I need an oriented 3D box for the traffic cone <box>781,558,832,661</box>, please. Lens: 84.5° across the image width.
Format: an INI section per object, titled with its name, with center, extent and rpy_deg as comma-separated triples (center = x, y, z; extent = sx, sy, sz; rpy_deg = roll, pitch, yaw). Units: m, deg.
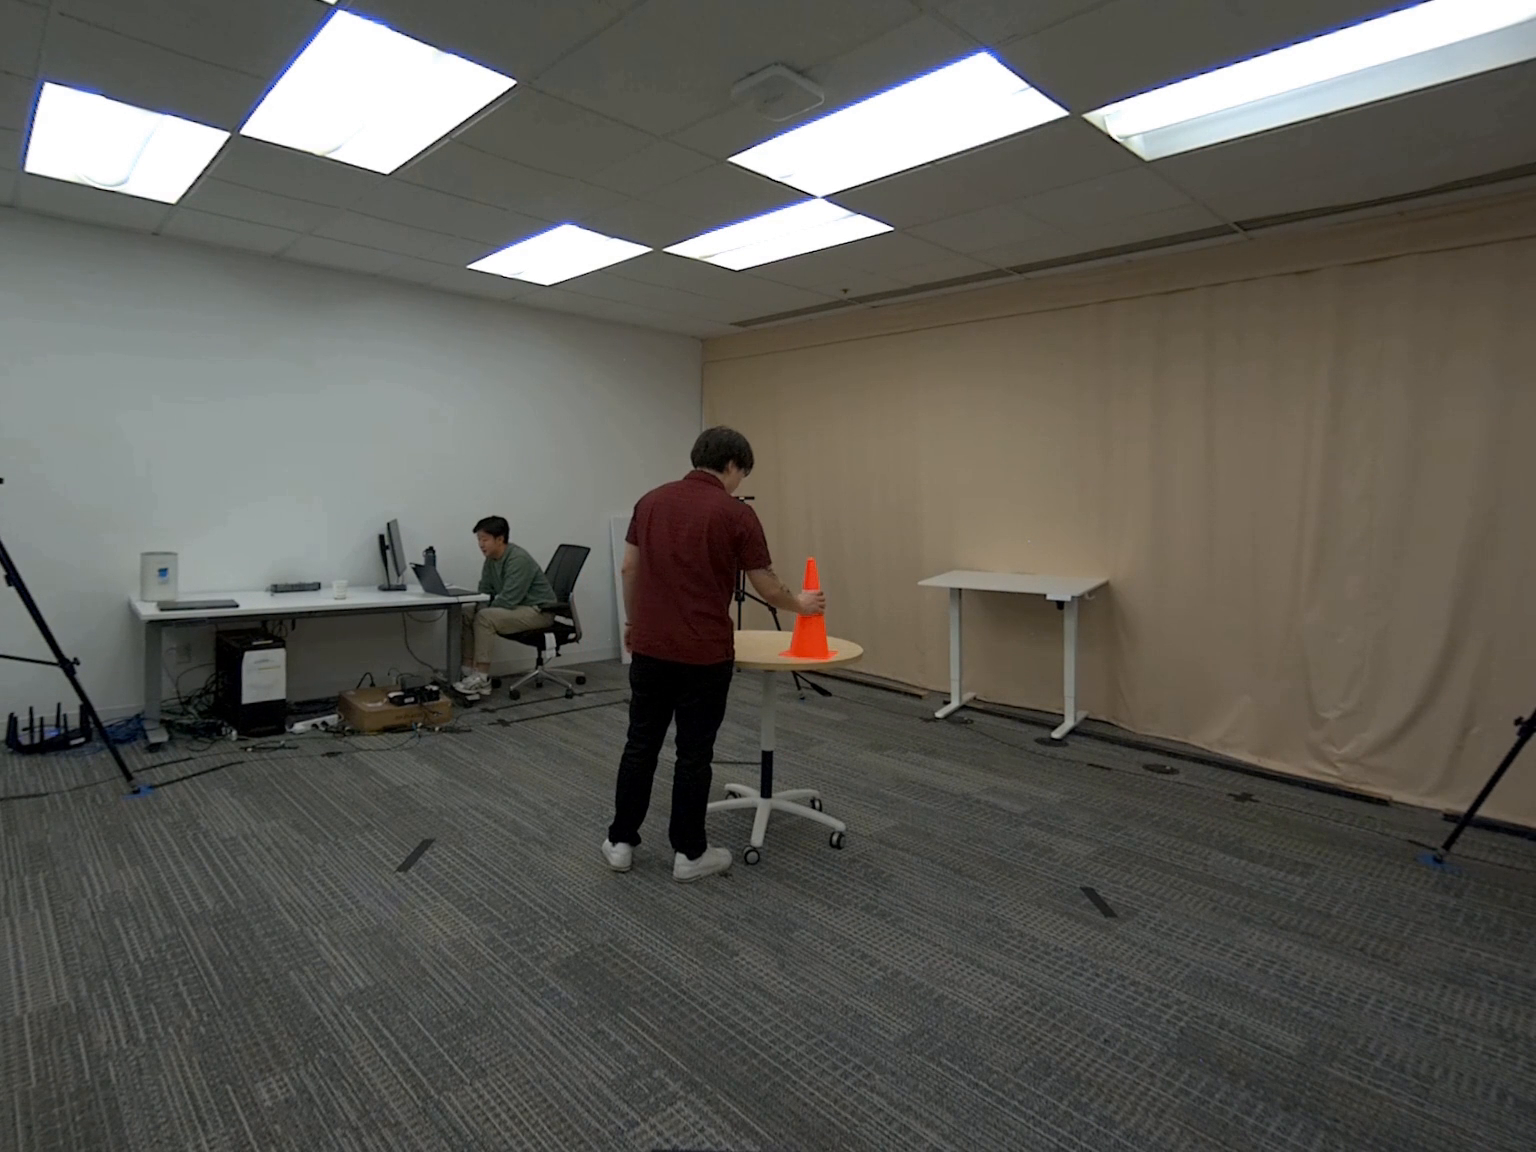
[traffic cone]
center = 0.154, 0.120, 3.325
extent = 0.206, 0.382, 0.203
rpy_deg = 3, 4, 17
